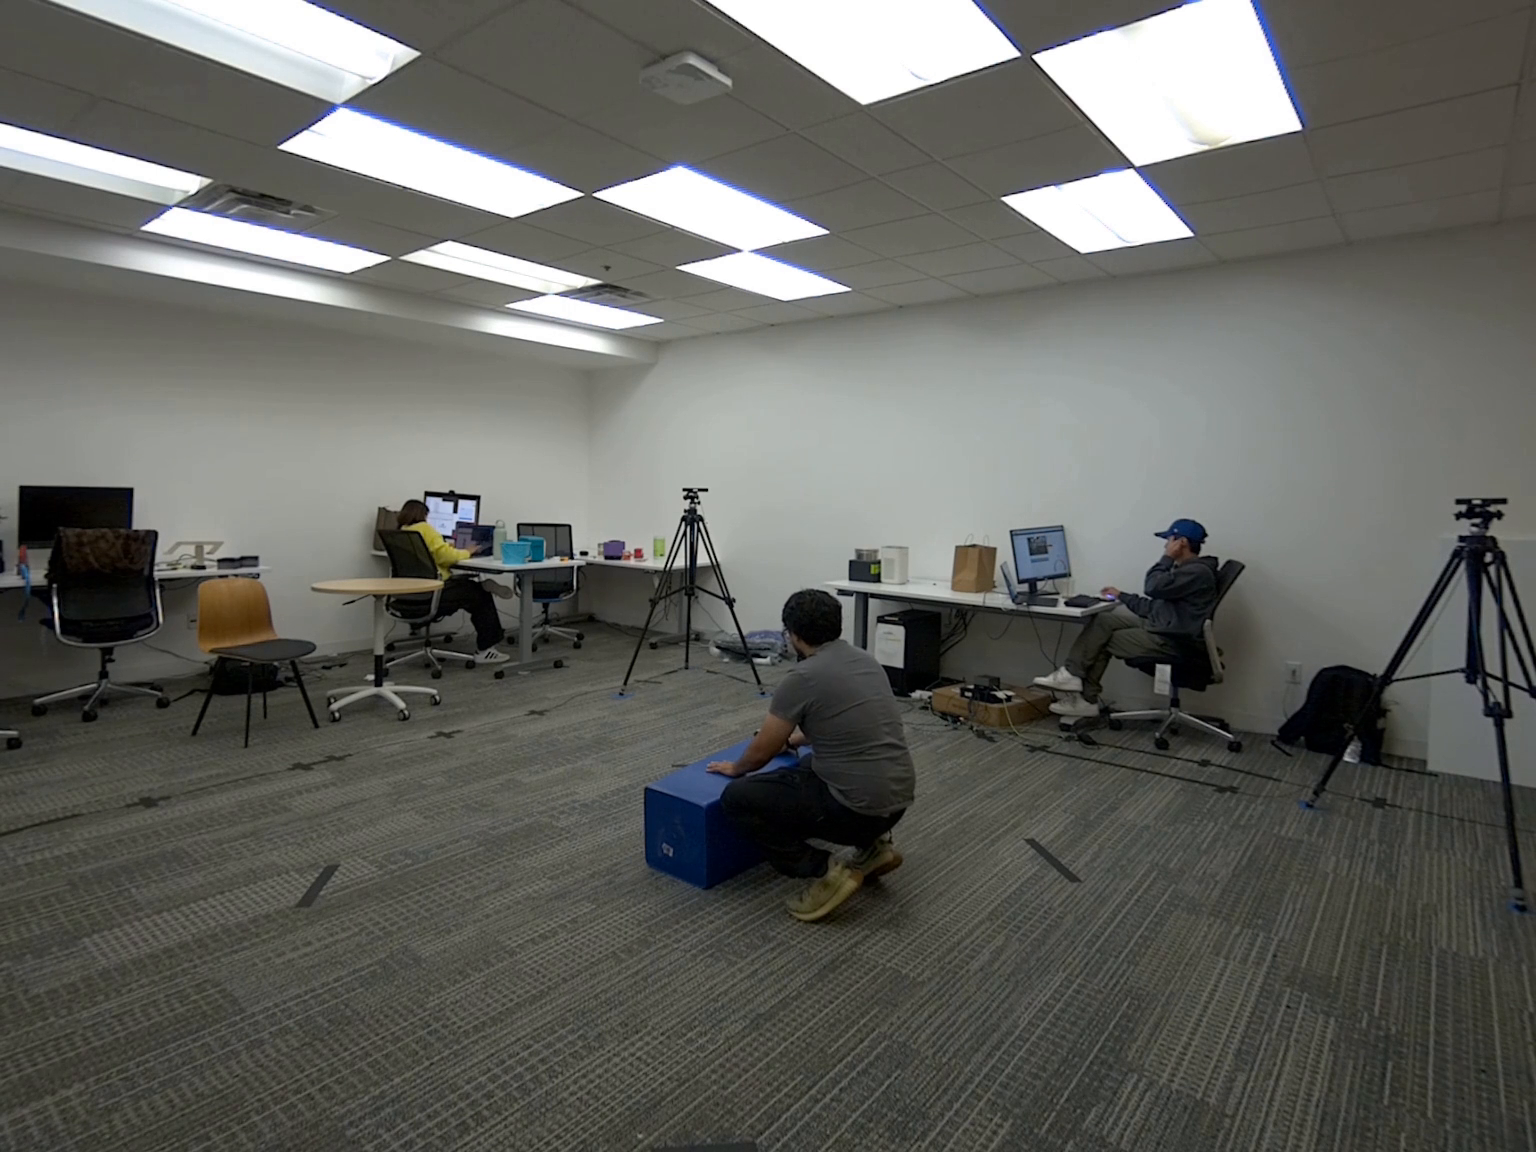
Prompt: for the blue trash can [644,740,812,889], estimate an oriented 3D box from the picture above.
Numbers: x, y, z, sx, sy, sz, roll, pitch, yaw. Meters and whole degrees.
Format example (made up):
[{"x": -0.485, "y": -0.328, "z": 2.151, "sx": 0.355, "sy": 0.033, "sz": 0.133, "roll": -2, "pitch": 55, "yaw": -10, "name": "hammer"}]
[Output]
[{"x": -0.137, "y": 0.880, "z": 3.293, "sx": 0.387, "sy": 0.376, "sz": 0.693, "roll": 5, "pitch": 8, "yaw": 39, "name": "blue trash can"}]
